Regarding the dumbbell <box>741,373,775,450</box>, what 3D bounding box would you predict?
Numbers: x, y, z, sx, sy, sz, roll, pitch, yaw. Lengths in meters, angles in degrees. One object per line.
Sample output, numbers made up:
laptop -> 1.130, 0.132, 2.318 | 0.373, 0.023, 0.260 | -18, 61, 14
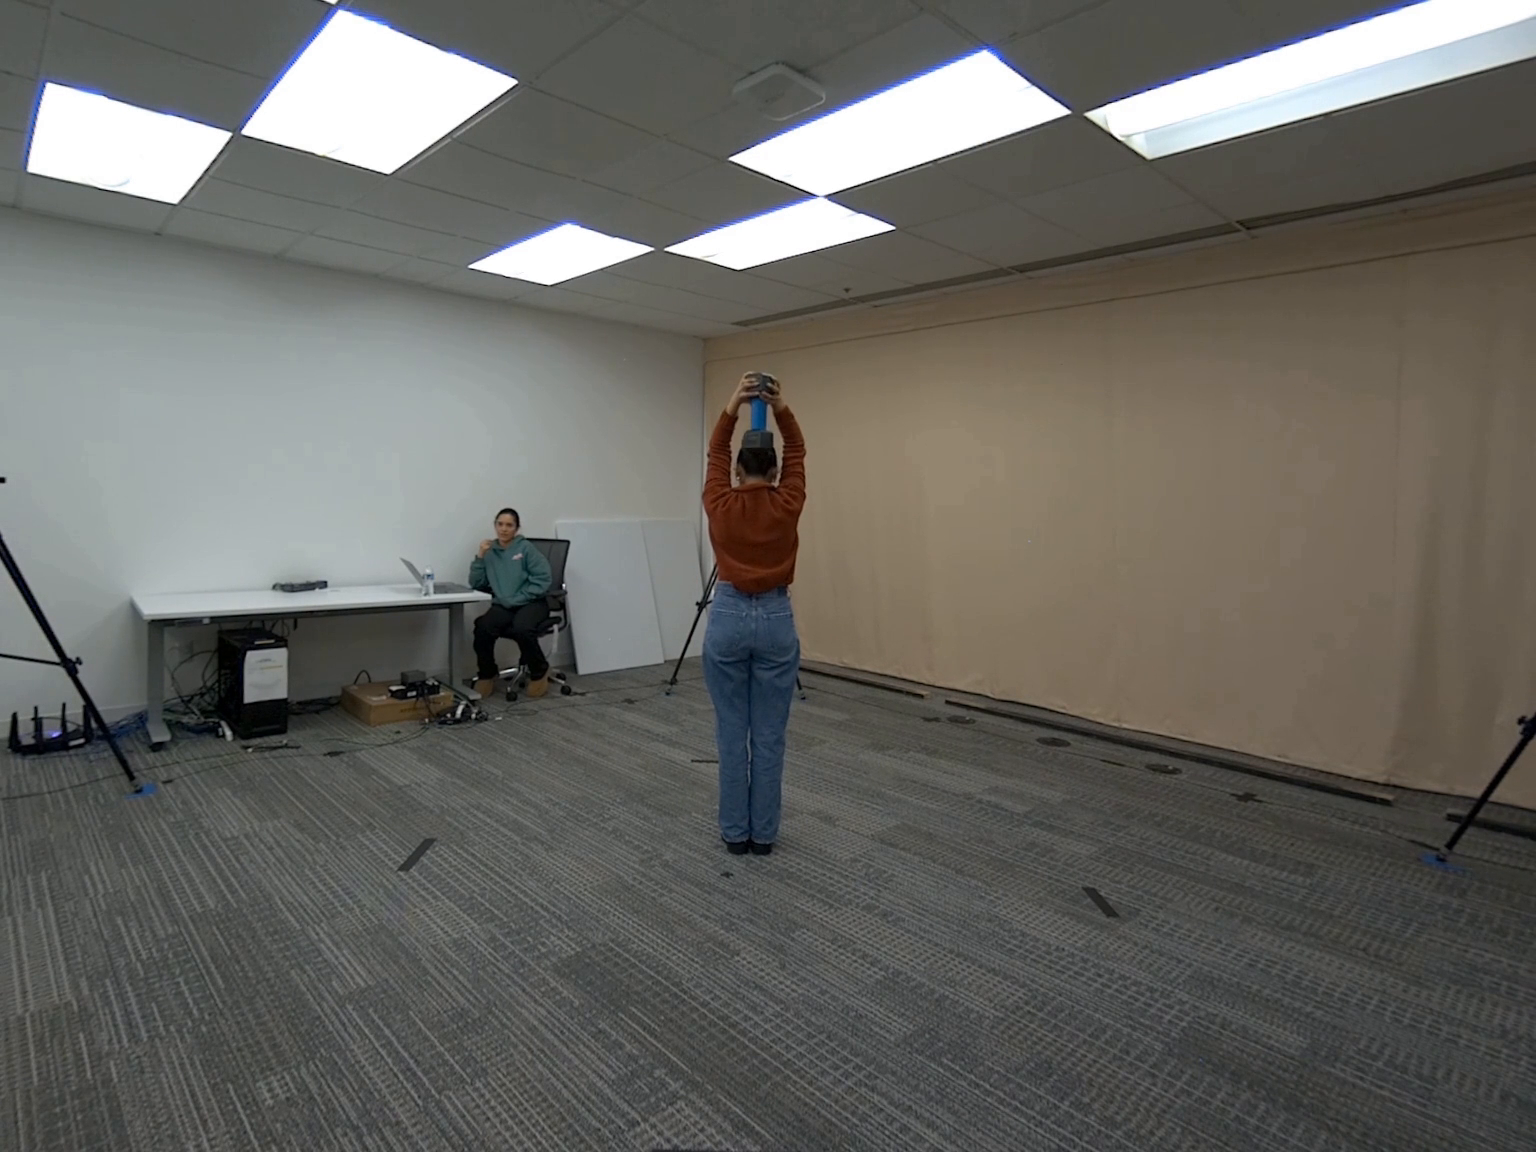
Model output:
dumbbell -> -0.042, -0.608, 3.167 | 0.107, 0.294, 0.124 | 3, -3, -15
